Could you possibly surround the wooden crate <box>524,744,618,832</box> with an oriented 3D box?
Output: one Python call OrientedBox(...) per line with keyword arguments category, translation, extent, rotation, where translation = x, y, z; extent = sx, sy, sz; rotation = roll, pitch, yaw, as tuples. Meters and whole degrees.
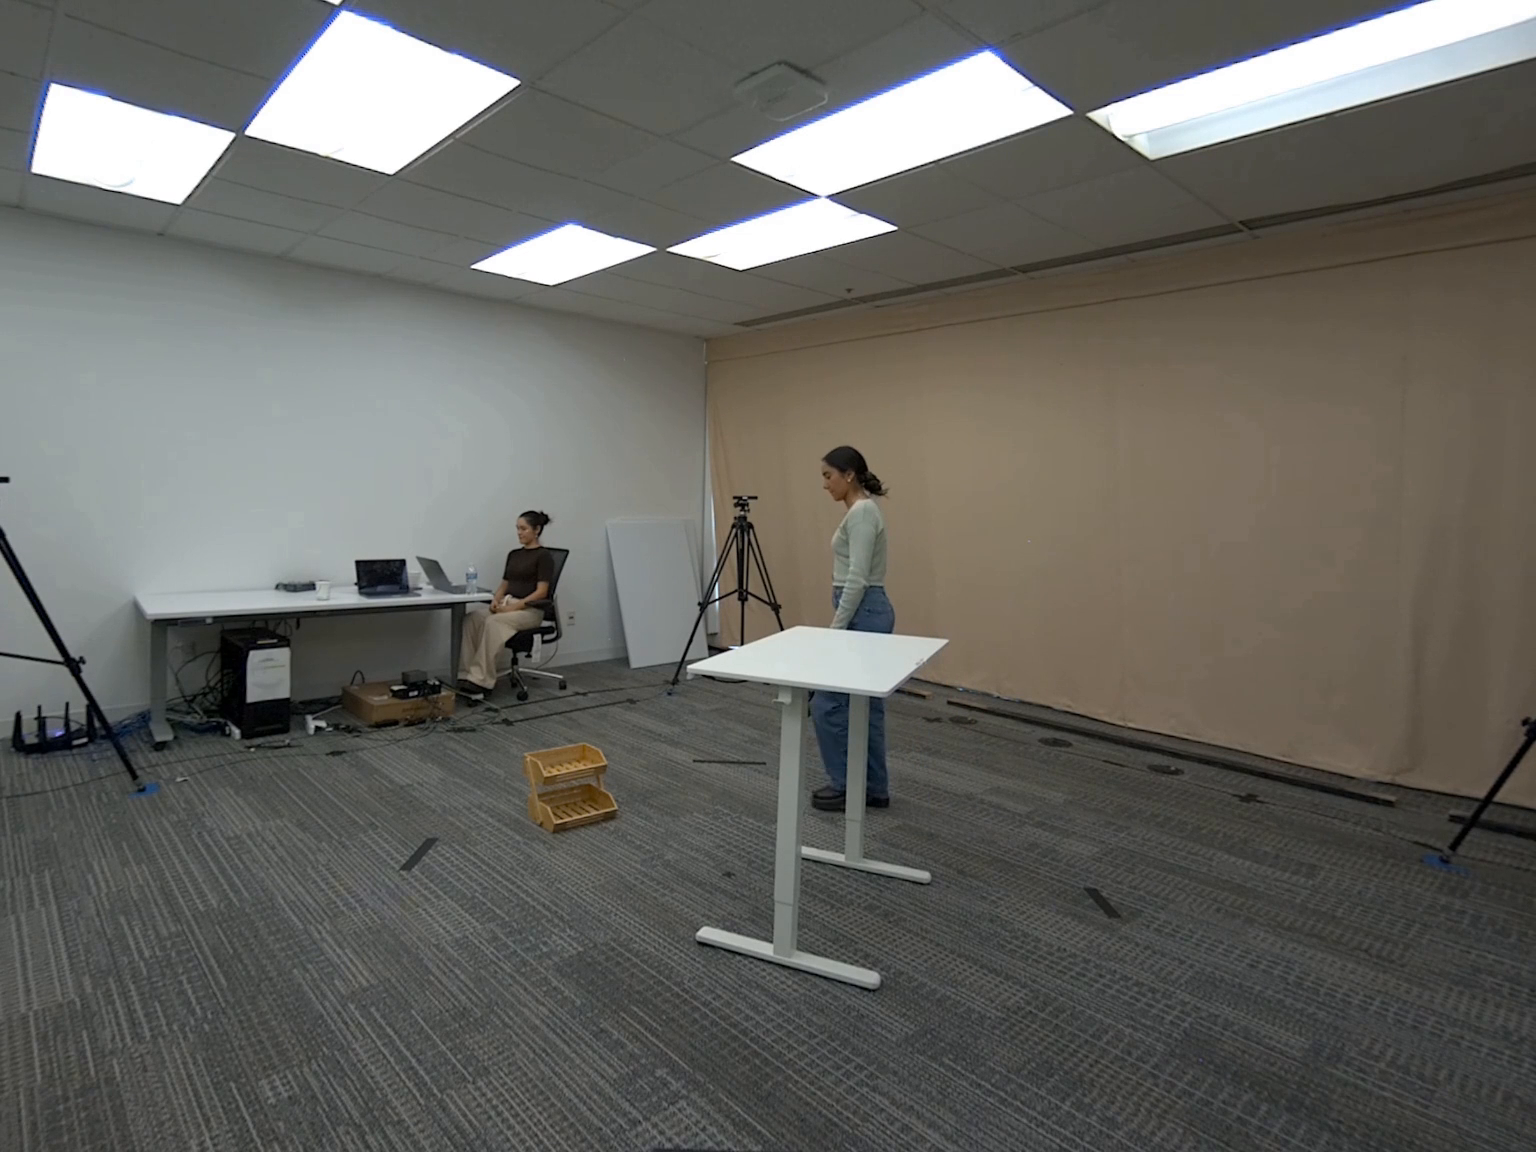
OrientedBox(category="wooden crate", translation=(-0.861, 0.903, 3.635), extent=(0.317, 0.273, 0.309), rotation=(-2, 5, -40))
